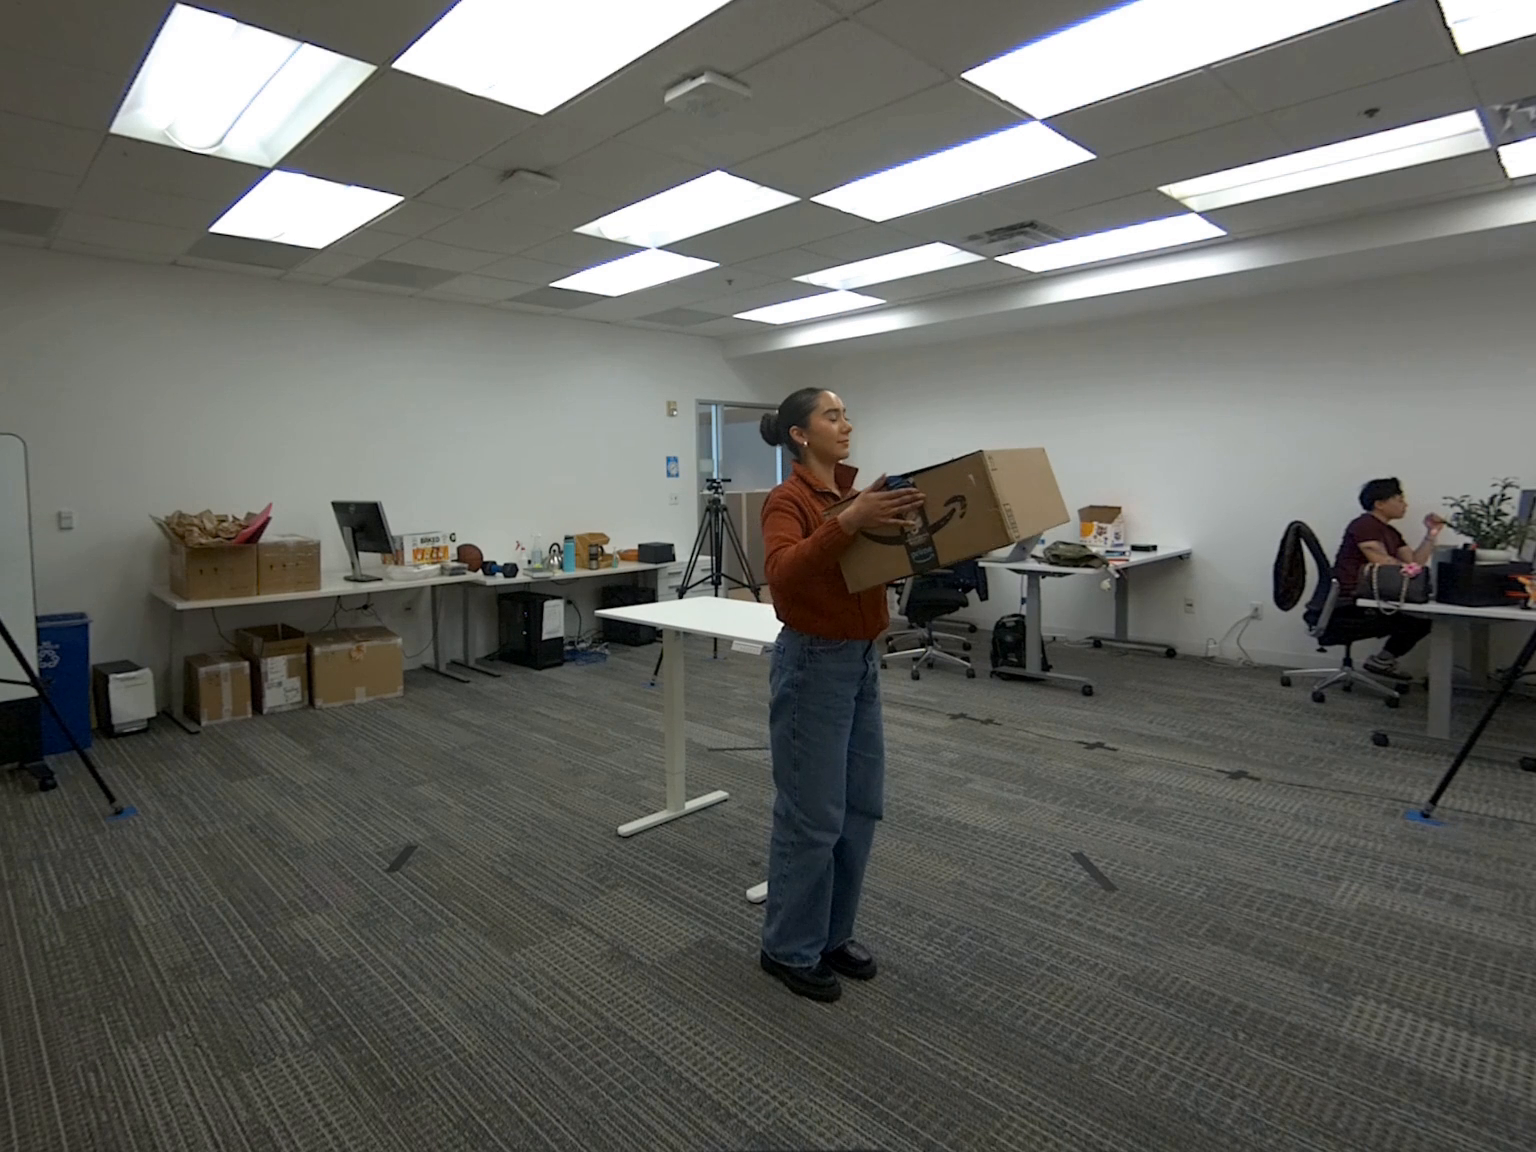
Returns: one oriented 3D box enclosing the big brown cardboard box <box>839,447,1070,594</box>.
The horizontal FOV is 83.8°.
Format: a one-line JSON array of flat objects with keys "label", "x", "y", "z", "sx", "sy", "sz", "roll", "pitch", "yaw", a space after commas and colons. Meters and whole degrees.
[{"label": "big brown cardboard box", "x": 0.472, "y": -0.153, "z": 2.167, "sx": 0.424, "sy": 0.234, "sz": 0.576, "roll": -19, "pitch": -3, "yaw": 32}]
